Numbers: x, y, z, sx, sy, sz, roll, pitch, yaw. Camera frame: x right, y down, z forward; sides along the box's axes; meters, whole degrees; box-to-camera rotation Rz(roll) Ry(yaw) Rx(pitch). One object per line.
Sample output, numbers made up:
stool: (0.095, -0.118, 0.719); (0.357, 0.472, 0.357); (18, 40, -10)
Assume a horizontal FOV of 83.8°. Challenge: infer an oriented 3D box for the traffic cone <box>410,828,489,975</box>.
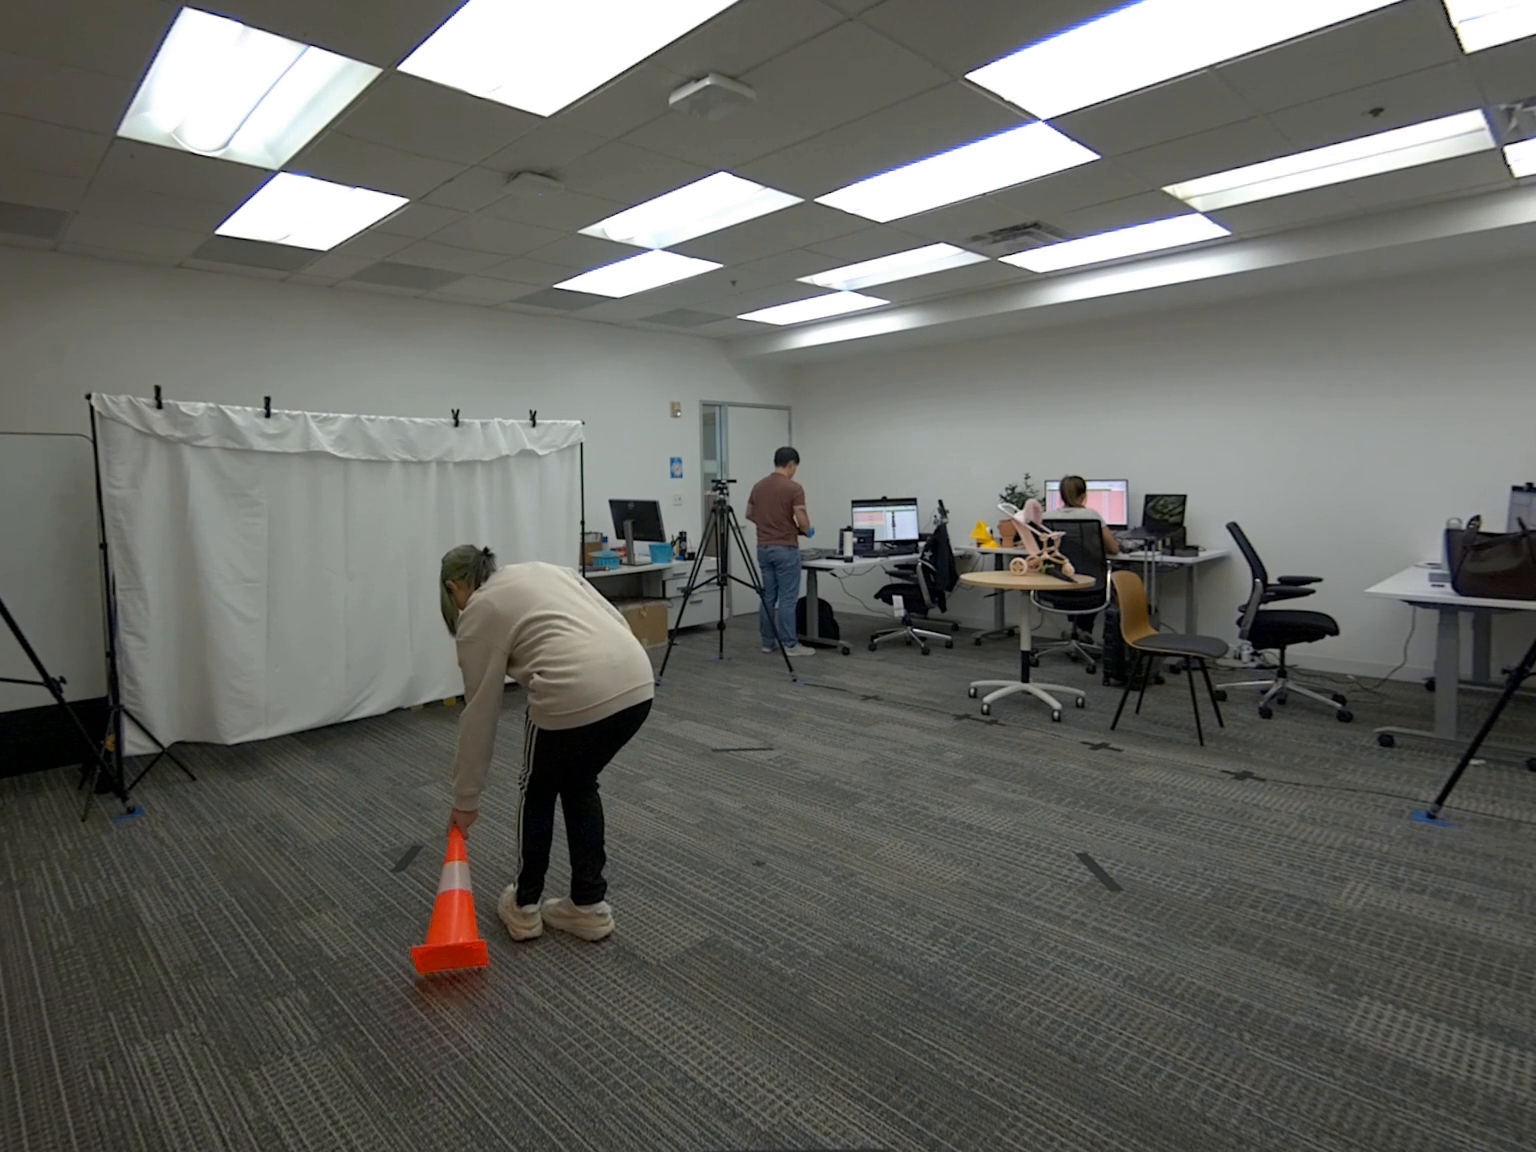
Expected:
traffic cone: (-0.922, 0.930, 2.511); (0.203, 0.198, 0.397); (-6, 48, -11)
